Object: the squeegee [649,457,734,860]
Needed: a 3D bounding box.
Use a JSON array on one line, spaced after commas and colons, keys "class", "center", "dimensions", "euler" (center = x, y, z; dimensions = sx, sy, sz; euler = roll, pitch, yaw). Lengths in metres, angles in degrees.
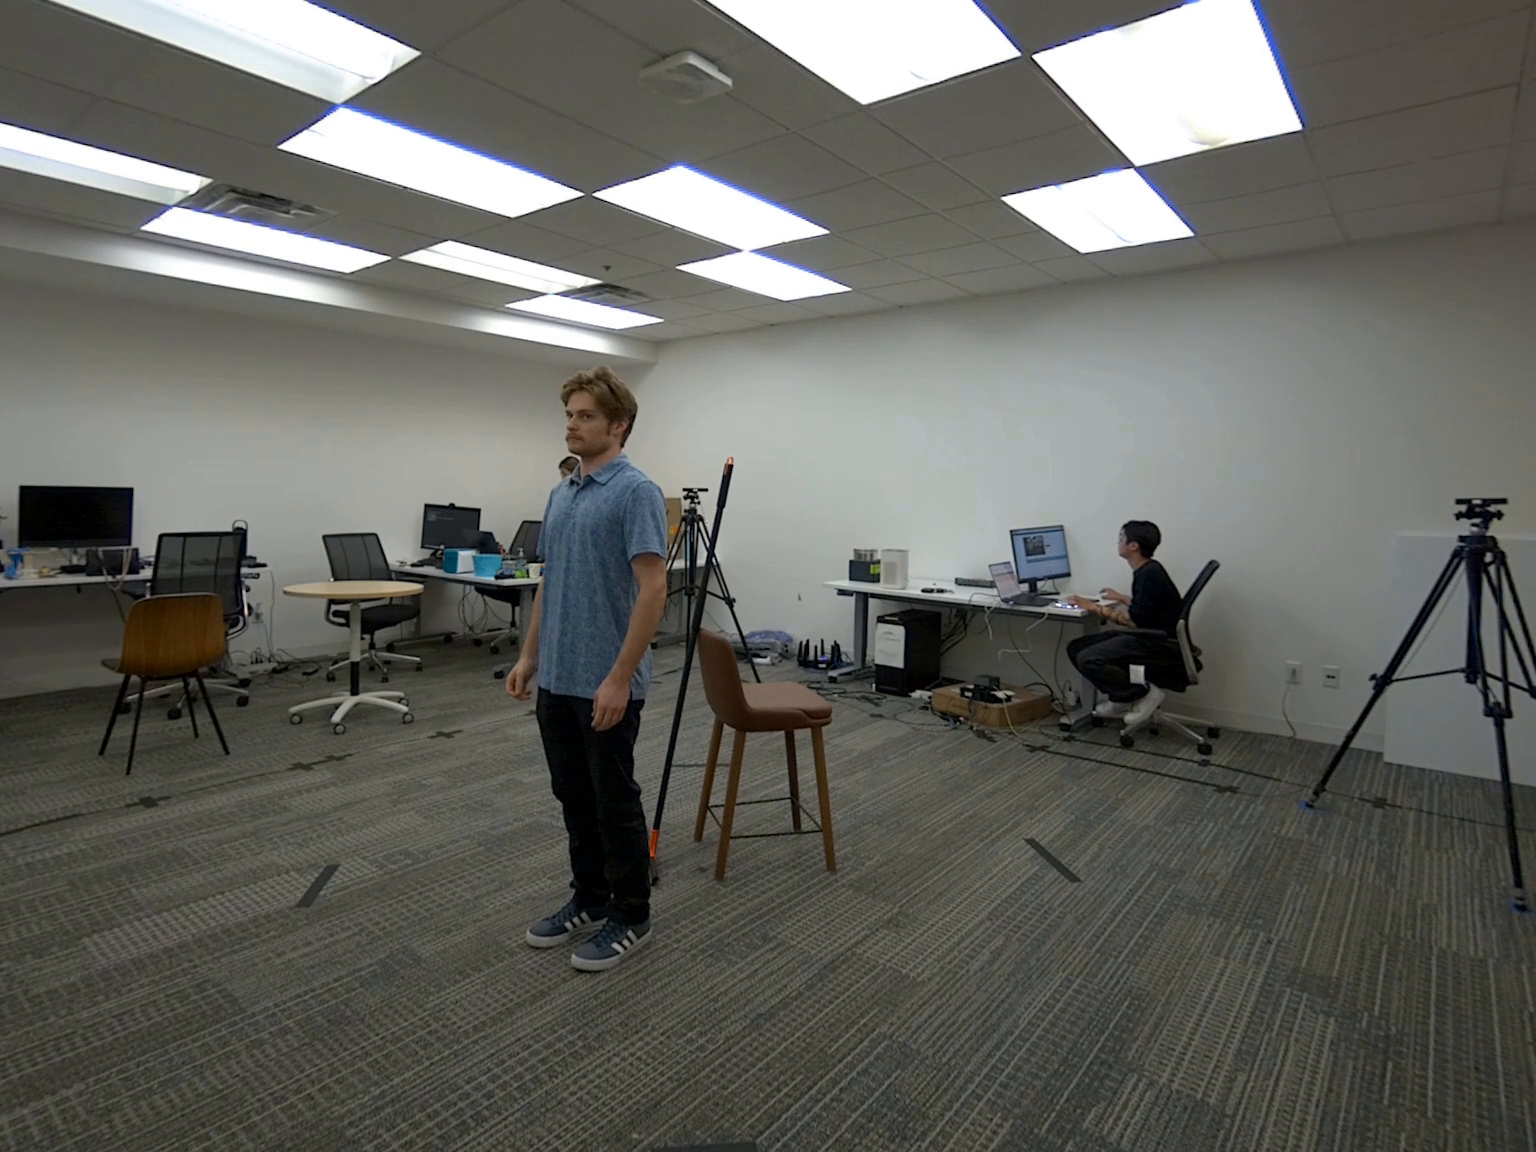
[{"class": "squeegee", "center": [-0.310, 0.295, 3.155], "dimensions": [0.052, 1.535, 0.447], "euler": [8, 2, -20]}]
